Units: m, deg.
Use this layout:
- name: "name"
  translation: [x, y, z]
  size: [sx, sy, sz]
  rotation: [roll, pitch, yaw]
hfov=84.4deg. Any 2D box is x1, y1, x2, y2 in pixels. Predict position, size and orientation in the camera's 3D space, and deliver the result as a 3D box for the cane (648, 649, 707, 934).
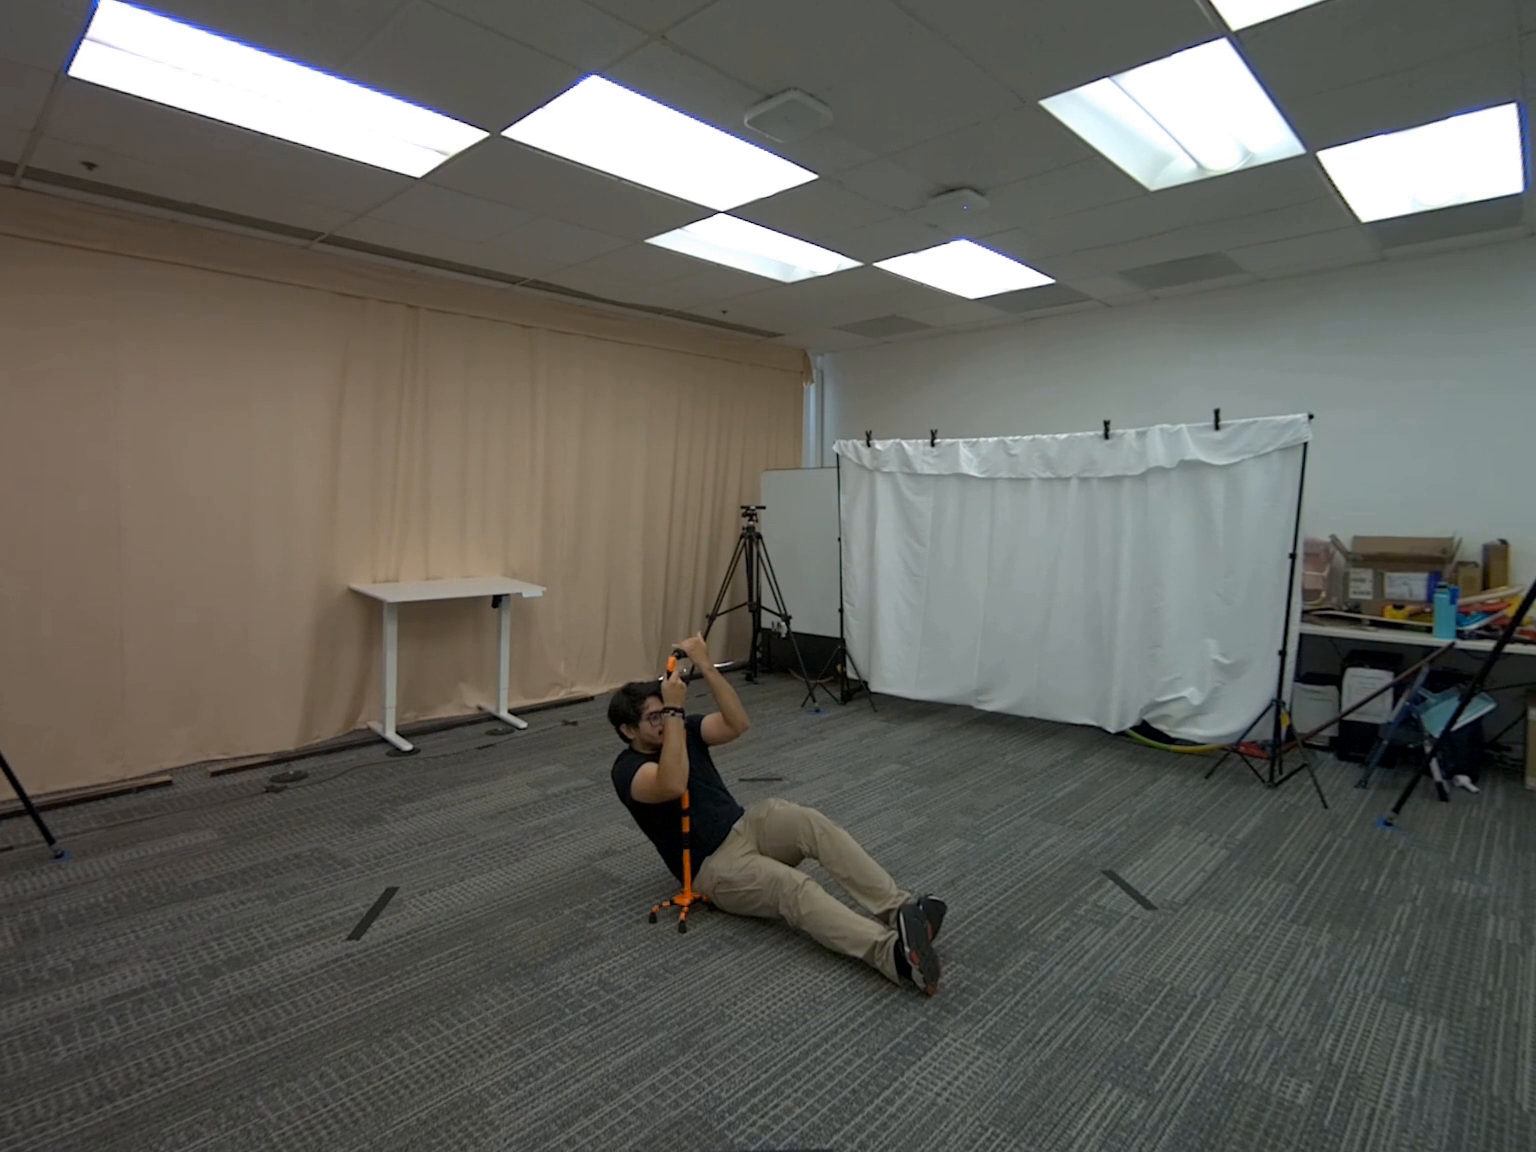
- name: "cane"
  translation: [-0.299, 0.698, 2.854]
  size: [0.156, 0.906, 0.201]
  rotation: [0, 3, 32]
